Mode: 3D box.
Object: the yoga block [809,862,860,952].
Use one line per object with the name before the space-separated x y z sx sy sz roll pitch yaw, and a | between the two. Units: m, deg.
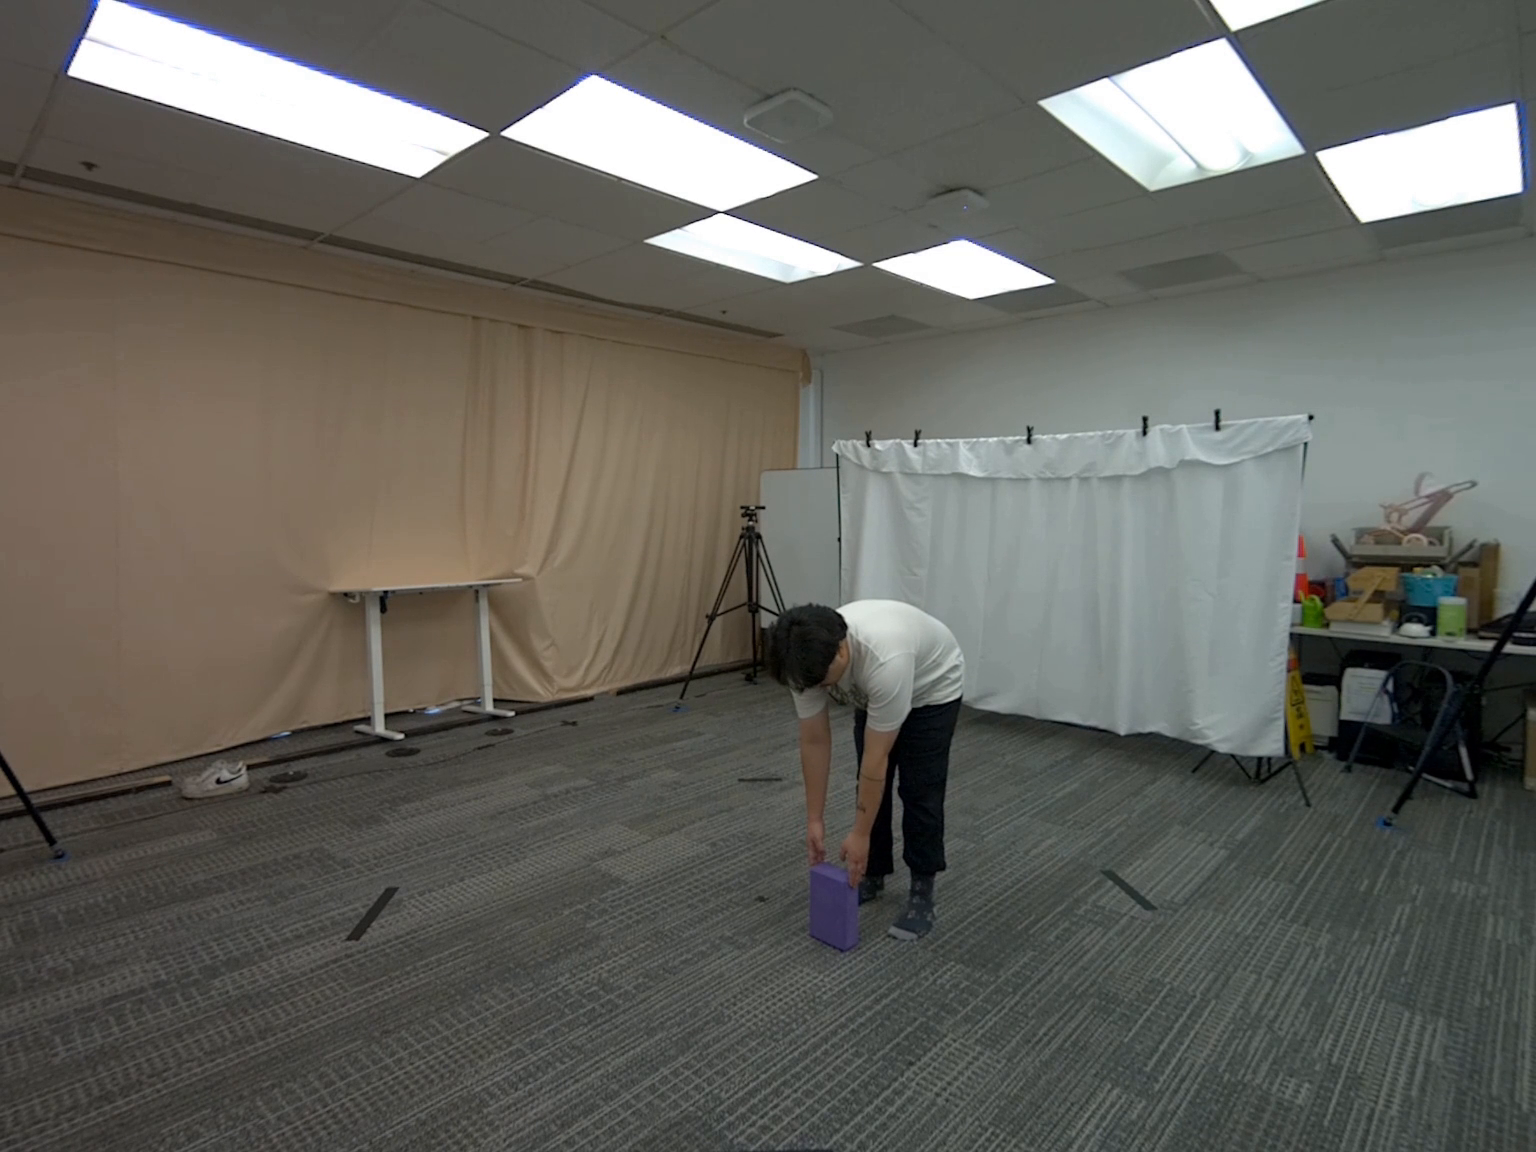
yoga block | 0.219 1.058 2.688 0.154 0.229 0.074 5 4 43
